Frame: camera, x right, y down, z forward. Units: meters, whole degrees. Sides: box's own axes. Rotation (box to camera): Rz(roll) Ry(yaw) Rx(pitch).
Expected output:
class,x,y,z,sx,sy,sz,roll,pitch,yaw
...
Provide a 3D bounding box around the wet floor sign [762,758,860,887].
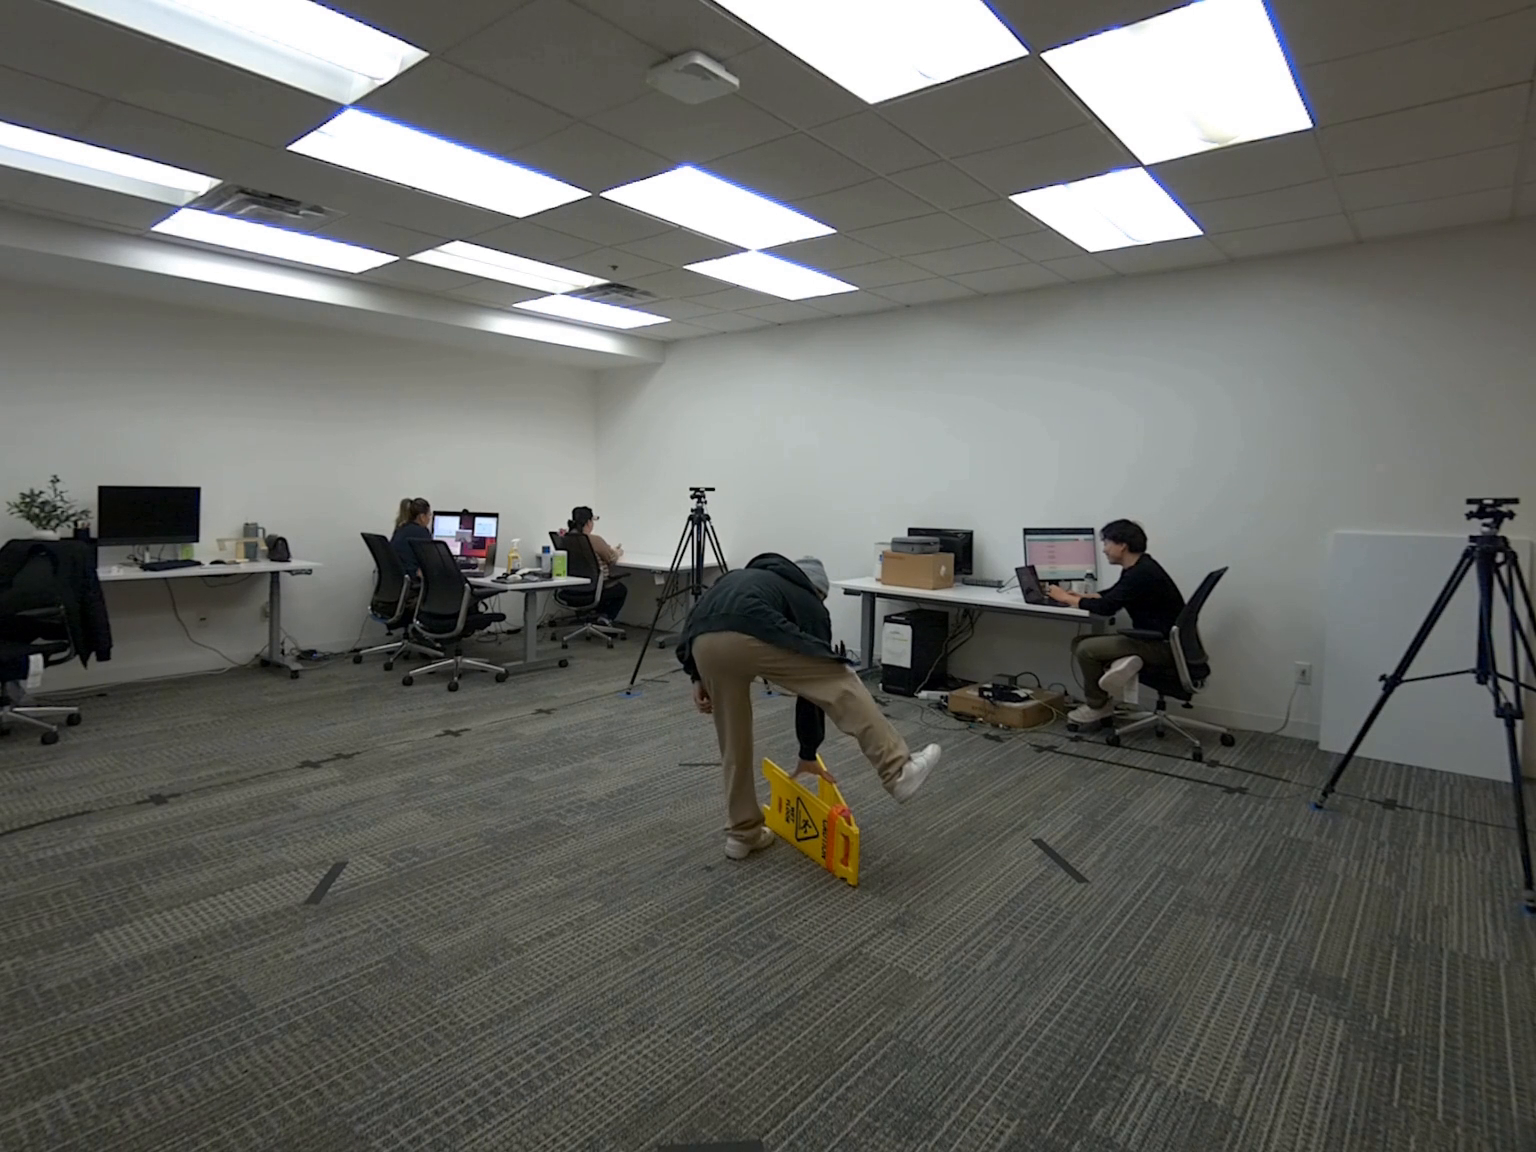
class,x,y,z,sx,sy,sz,roll,pitch,yaw
wet floor sign,0.201,0.931,3.278,0.284,0.280,0.662,-1,9,-19
